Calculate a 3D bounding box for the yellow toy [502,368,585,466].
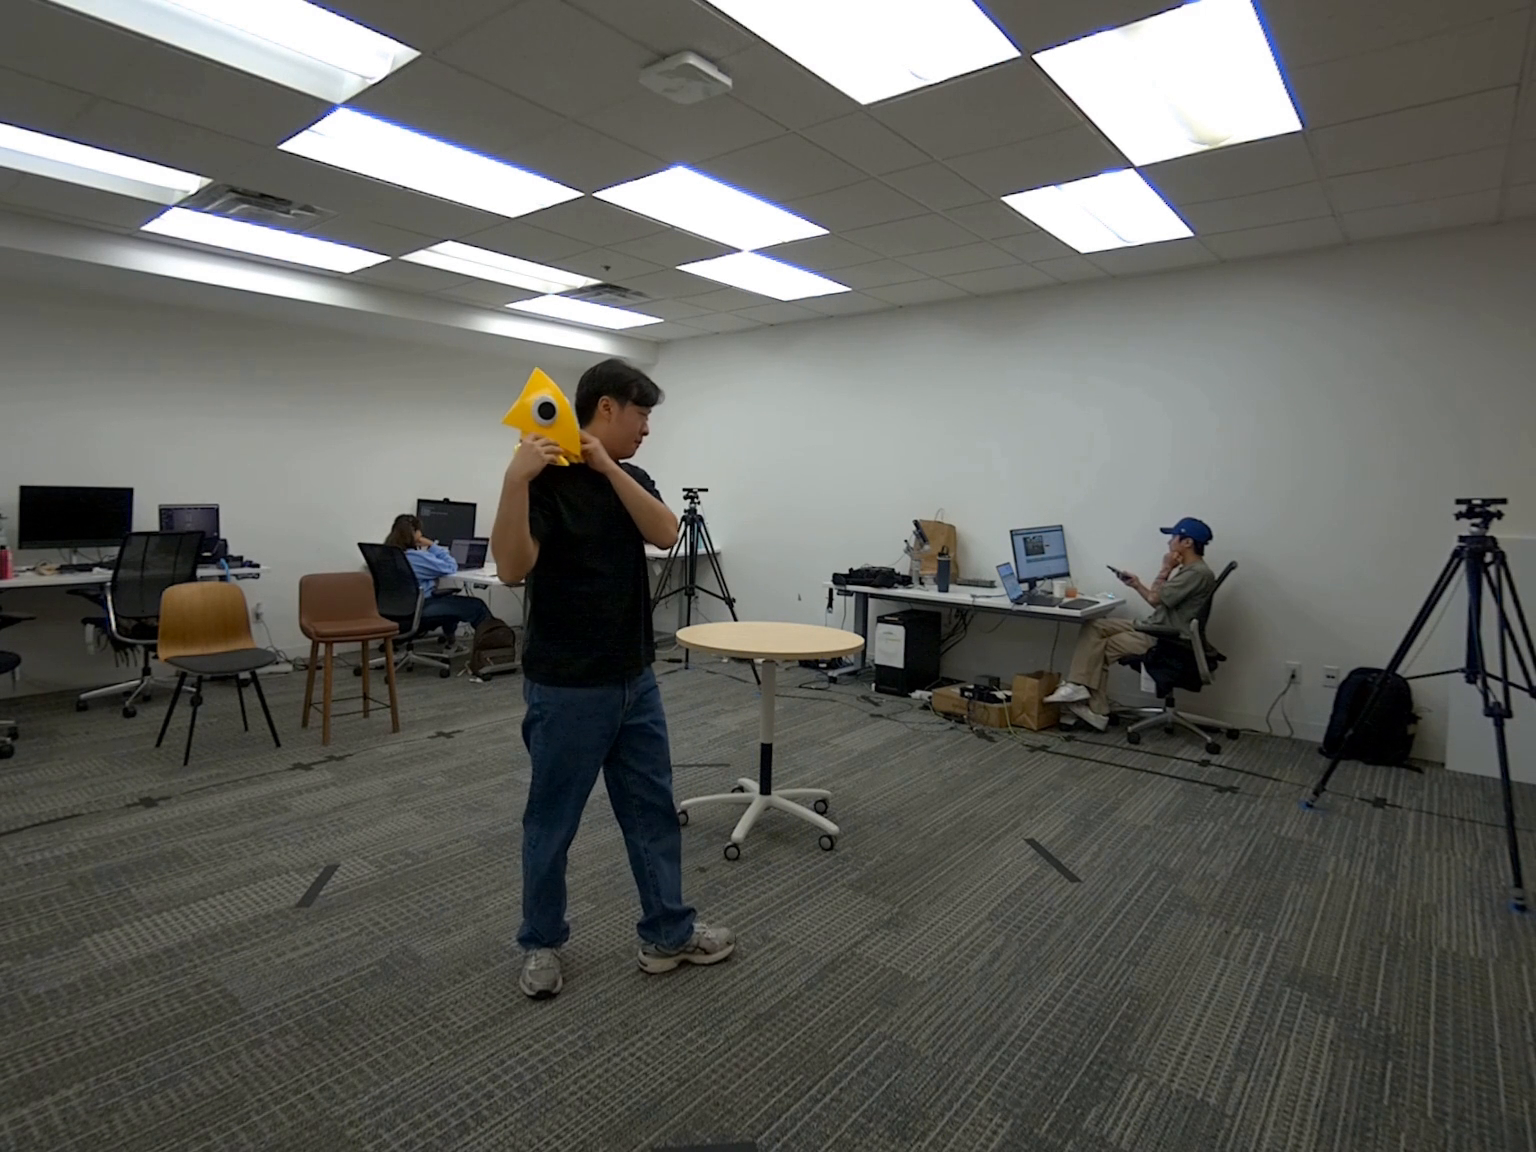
[{"bbox_3d":[-0.579,-0.425,2.235,0.195,0.229,0.204,13,10,8],"label":"yellow toy"}]
